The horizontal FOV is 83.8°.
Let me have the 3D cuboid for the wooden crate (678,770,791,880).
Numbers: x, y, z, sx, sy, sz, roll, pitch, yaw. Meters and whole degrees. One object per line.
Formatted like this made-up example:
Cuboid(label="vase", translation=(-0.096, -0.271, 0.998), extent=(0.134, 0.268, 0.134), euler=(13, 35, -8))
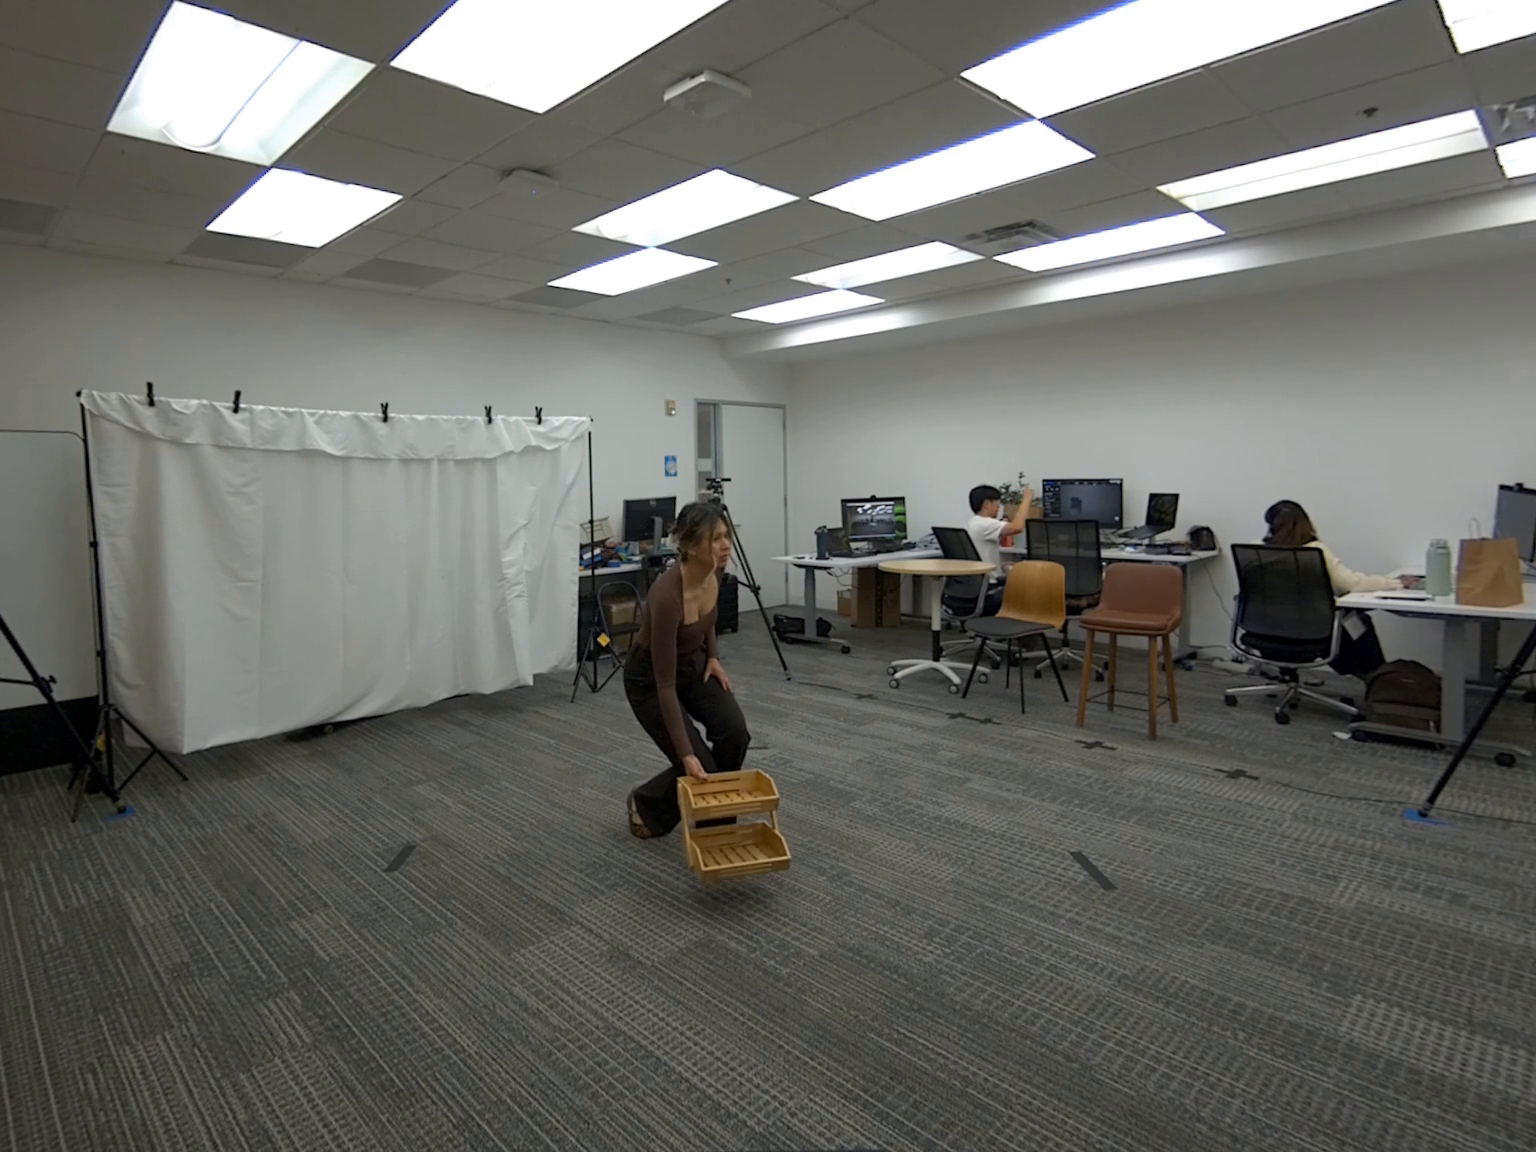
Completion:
Cuboid(label="wooden crate", translation=(-0.119, 0.825, 2.866), extent=(0.319, 0.273, 0.307), euler=(-2, 1, -18))
